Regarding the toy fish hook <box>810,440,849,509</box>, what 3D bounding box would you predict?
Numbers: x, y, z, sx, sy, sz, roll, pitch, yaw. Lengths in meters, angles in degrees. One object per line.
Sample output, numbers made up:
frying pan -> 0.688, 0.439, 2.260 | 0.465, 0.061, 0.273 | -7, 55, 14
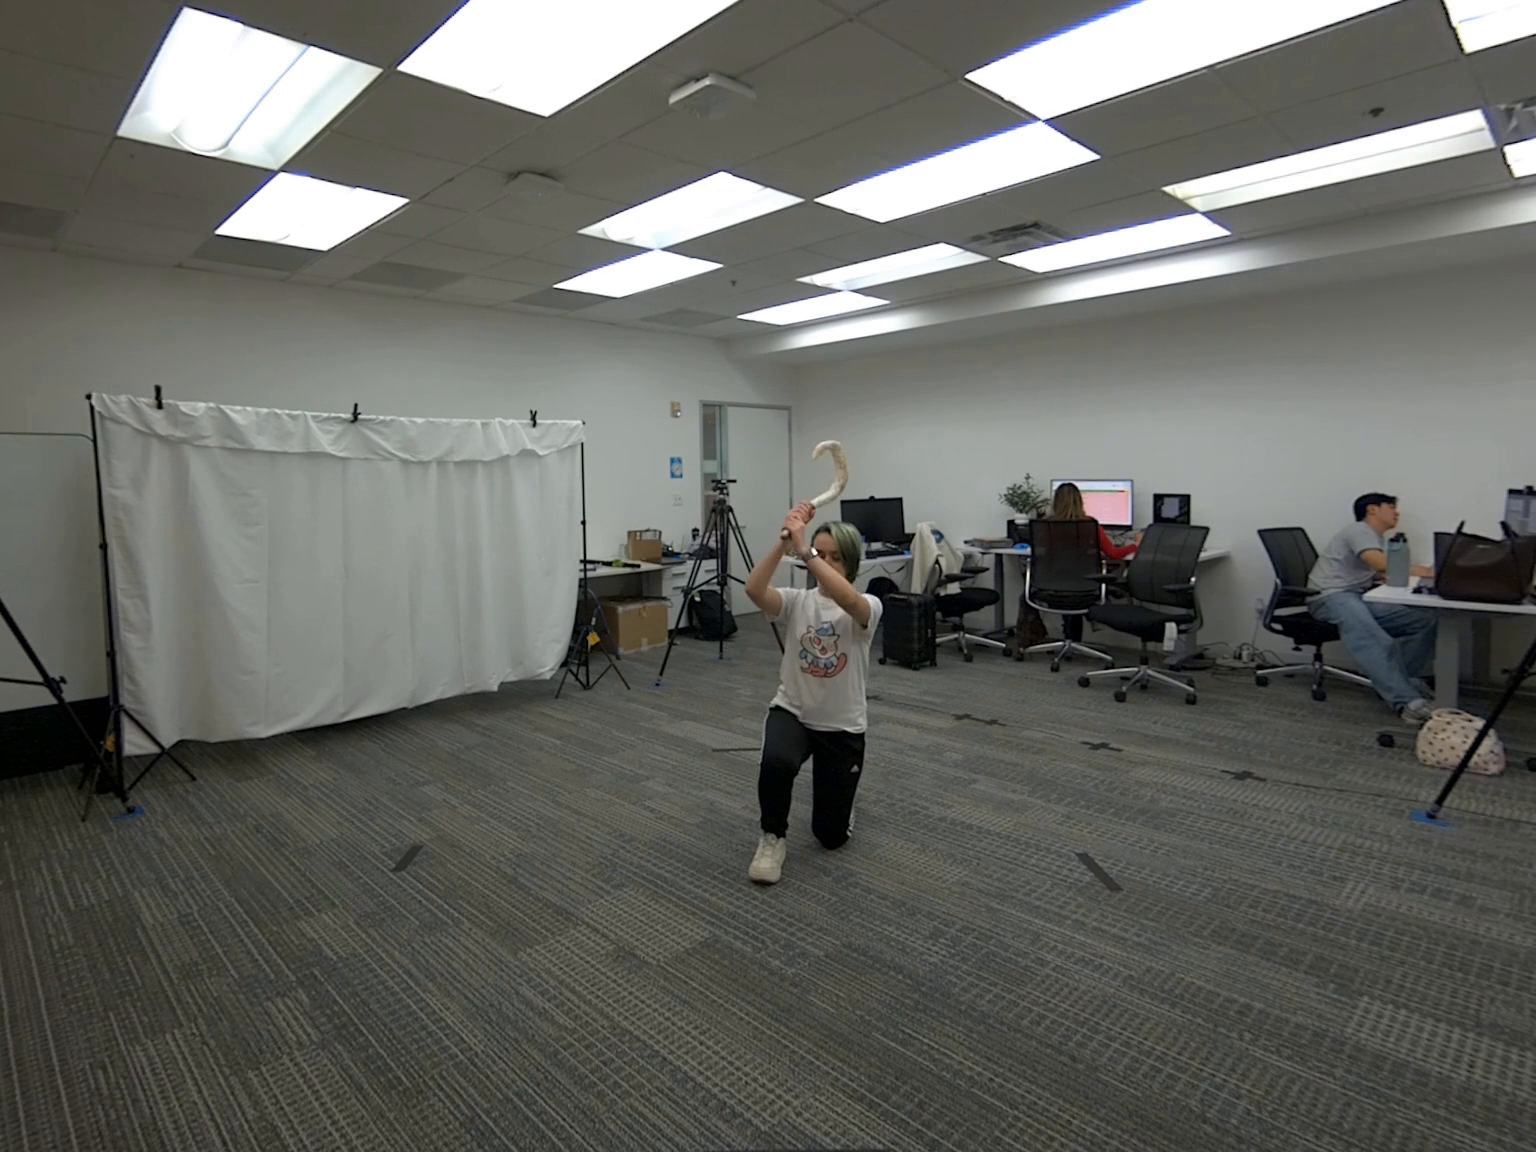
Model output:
toy fish hook -> 0.158, -0.305, 3.055 | 0.049, 0.219, 0.507 | -6, 31, 37
